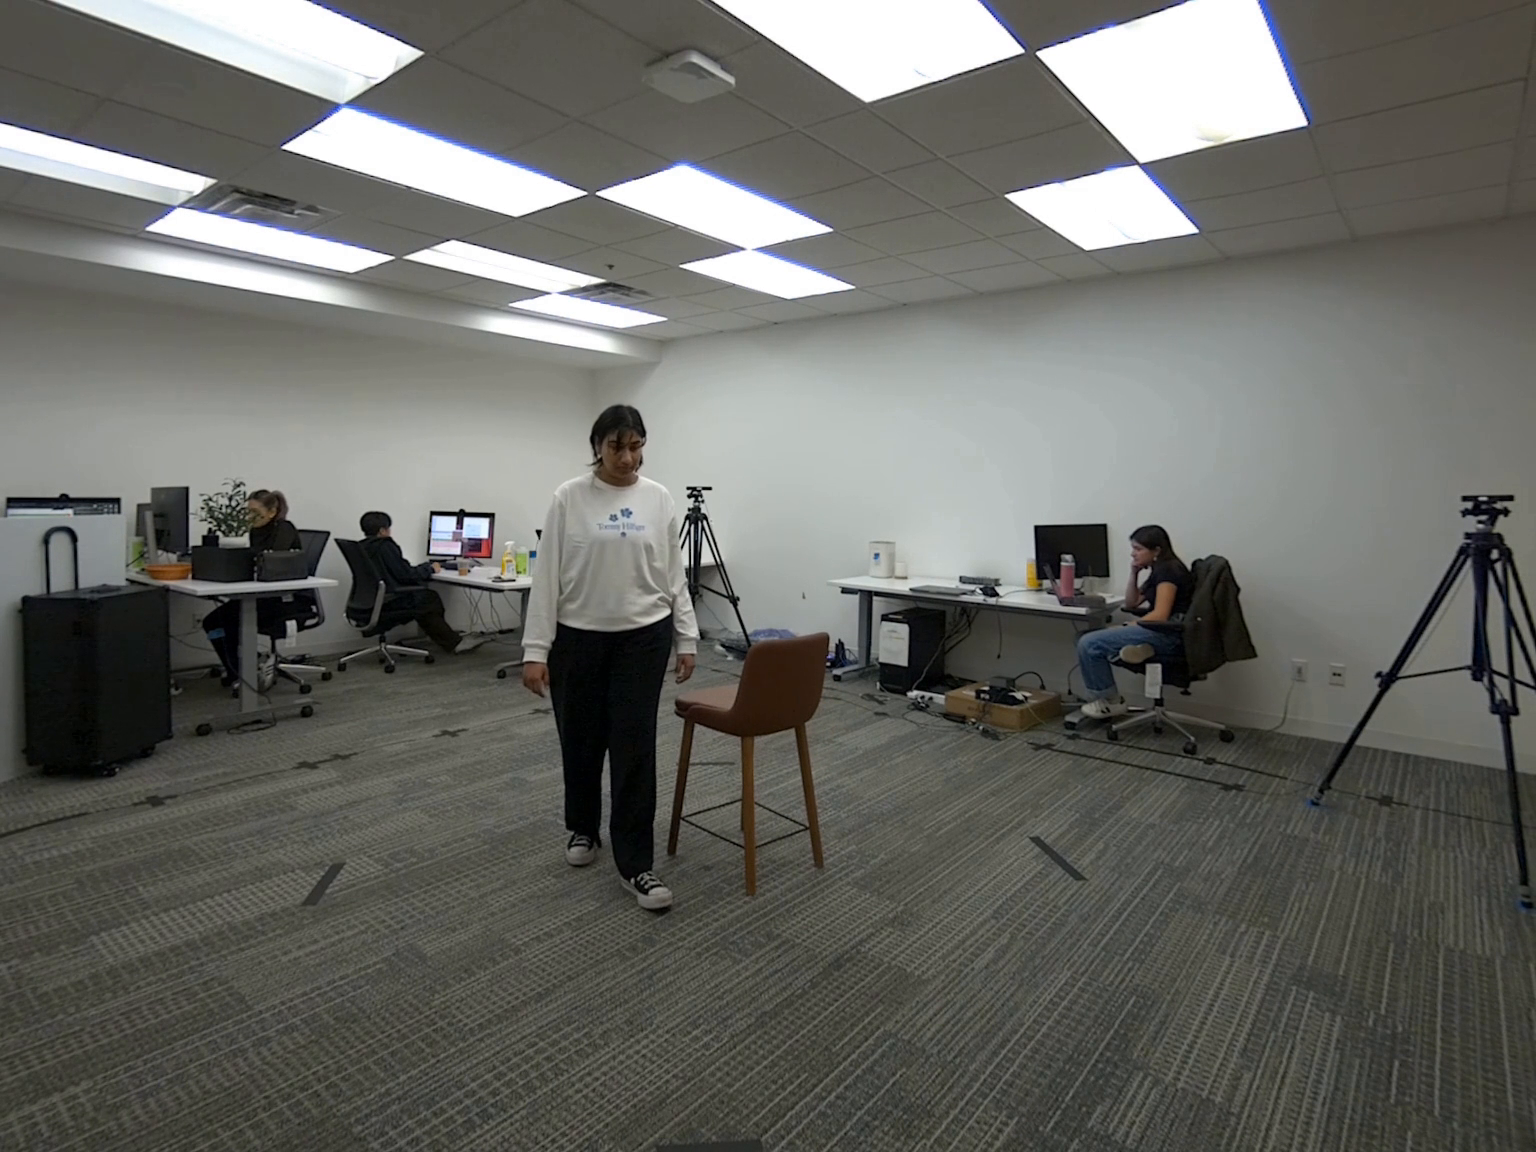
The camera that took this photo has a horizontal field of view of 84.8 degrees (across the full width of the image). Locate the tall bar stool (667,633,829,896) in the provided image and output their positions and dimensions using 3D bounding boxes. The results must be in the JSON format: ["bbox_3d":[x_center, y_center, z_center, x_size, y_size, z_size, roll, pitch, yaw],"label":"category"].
[{"bbox_3d":[-0.066,0.629,3.162,0.442,0.886,0.484,-2,6,-43],"label":"tall bar stool"}]
